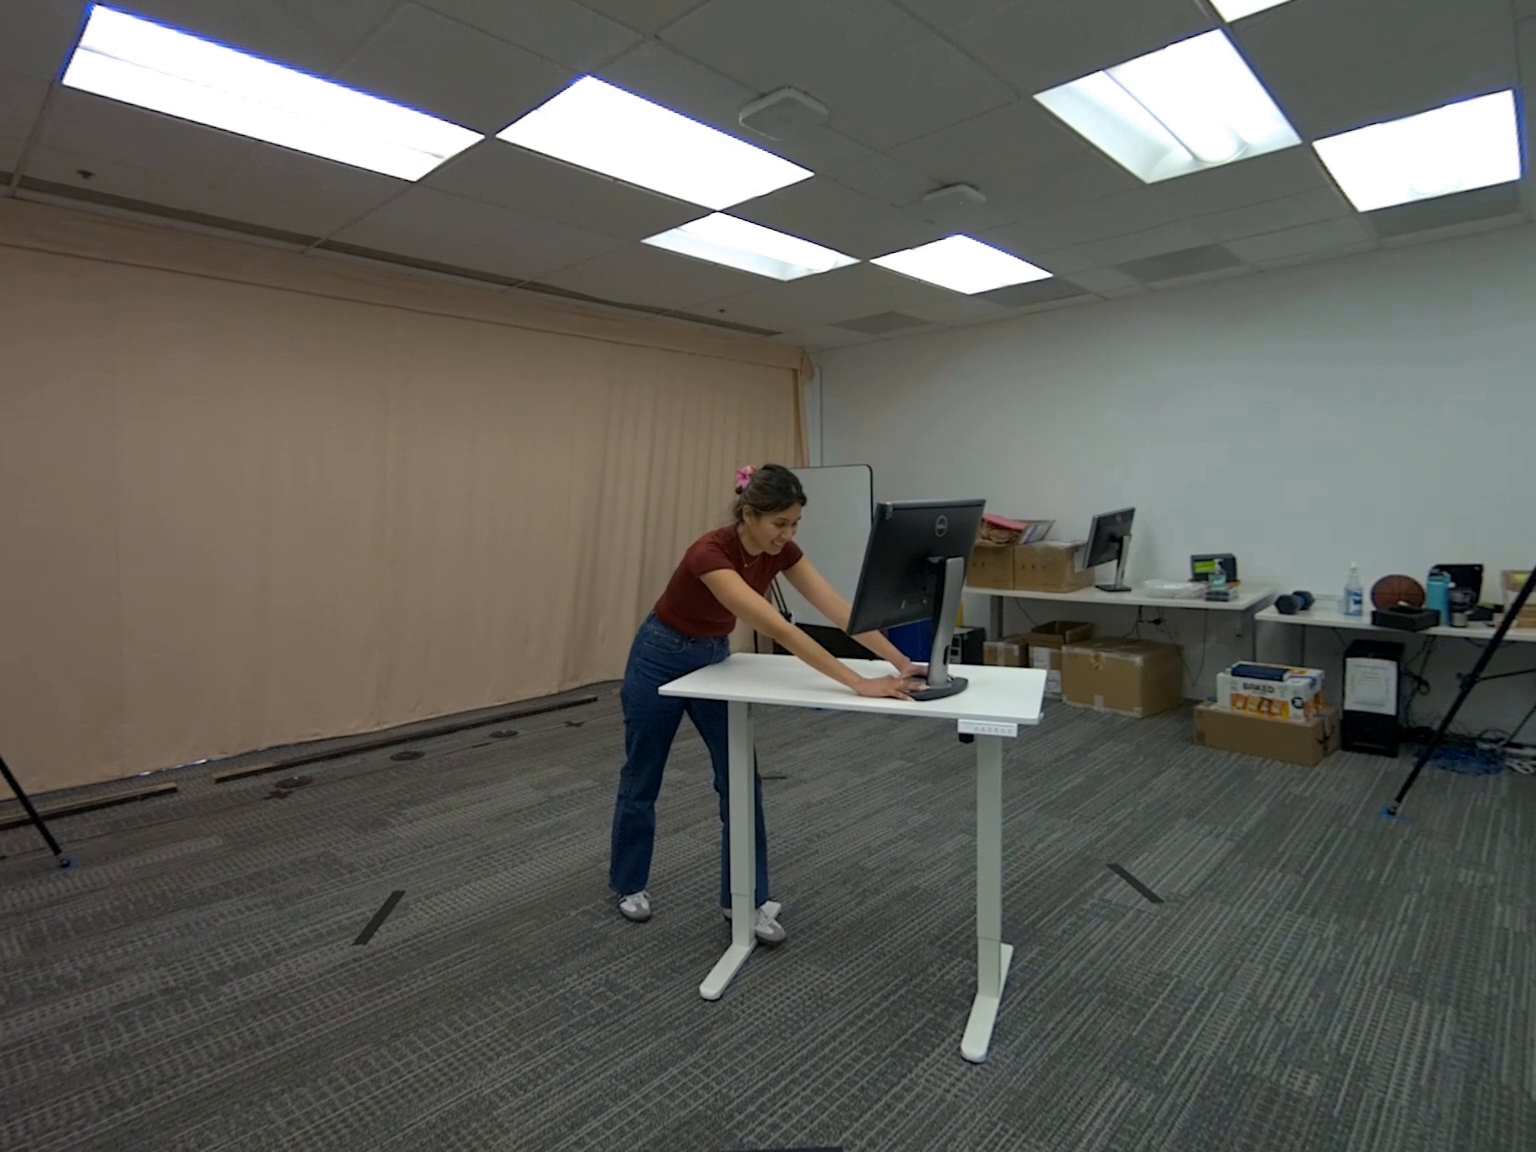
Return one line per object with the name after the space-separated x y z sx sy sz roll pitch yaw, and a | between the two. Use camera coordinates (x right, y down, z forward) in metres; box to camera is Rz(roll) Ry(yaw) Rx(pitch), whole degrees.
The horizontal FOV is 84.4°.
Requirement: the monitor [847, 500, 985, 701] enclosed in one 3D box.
0.443 0.057 2.274 0.193 0.521 0.524 4 7 37 | monitor
